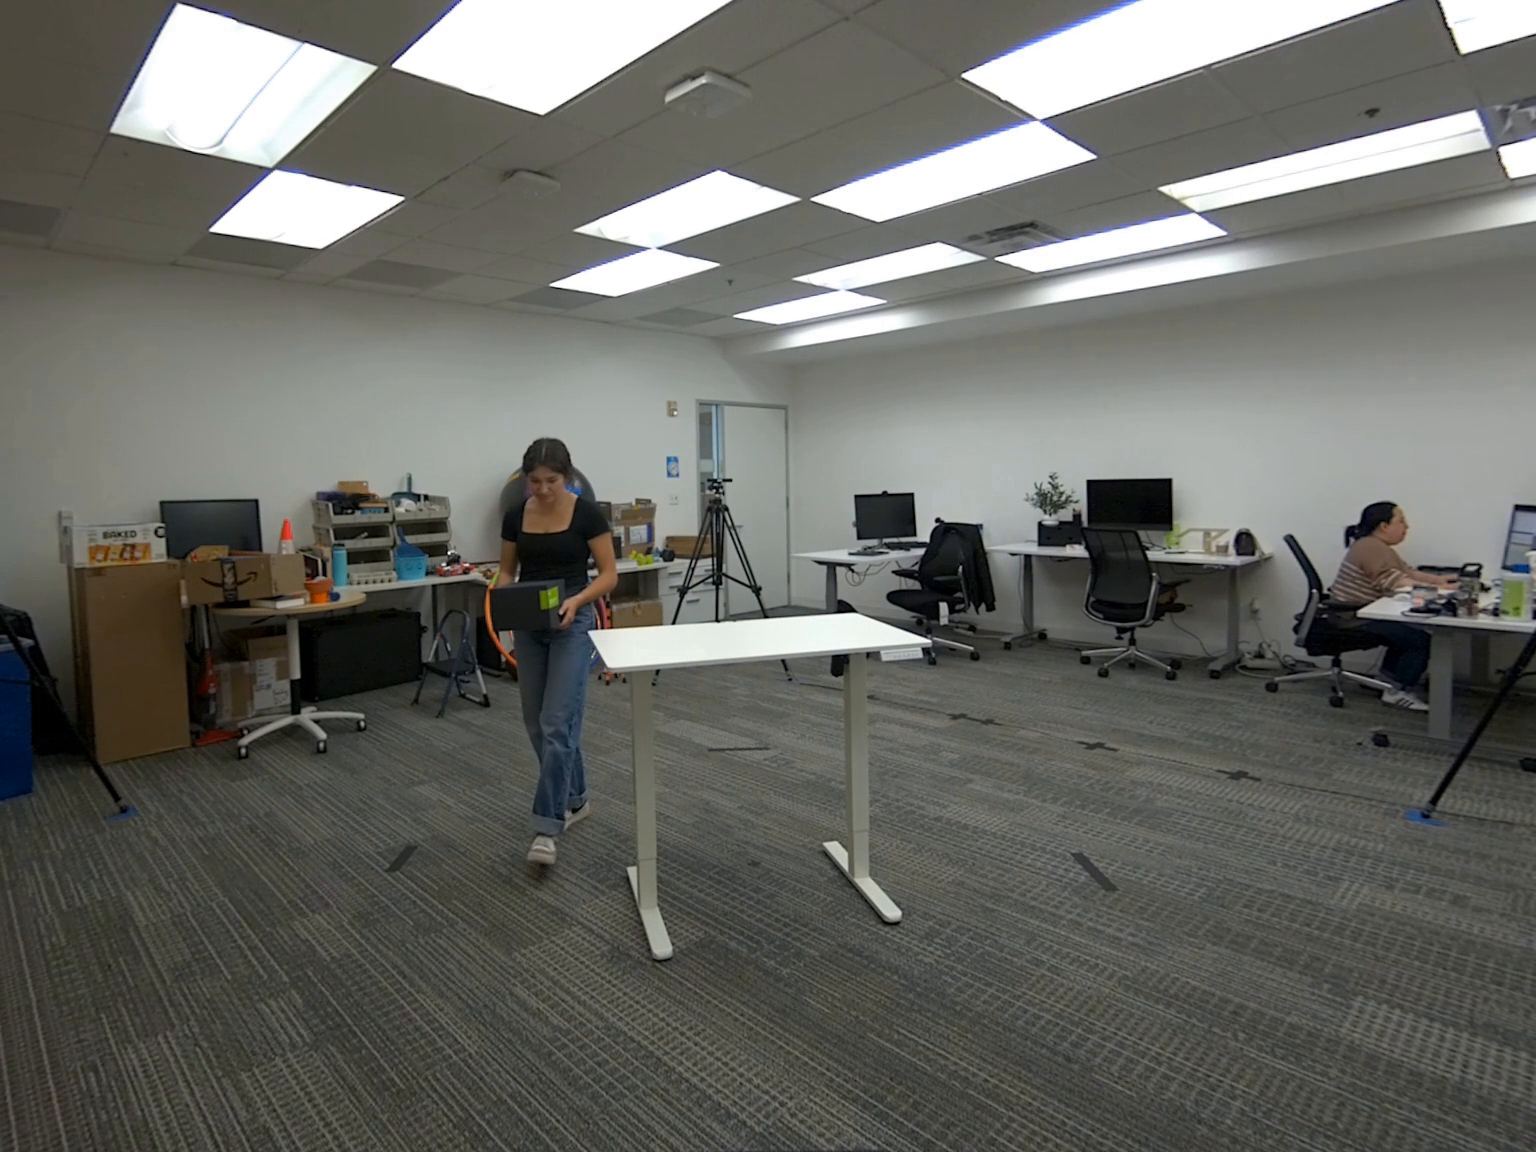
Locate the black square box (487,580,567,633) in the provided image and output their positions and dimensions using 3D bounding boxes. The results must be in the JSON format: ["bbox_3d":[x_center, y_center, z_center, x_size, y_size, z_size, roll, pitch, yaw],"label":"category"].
[{"bbox_3d":[-0.872,0.103,3.121,0.218,0.155,0.227,-5,3,3],"label":"black square box"}]
